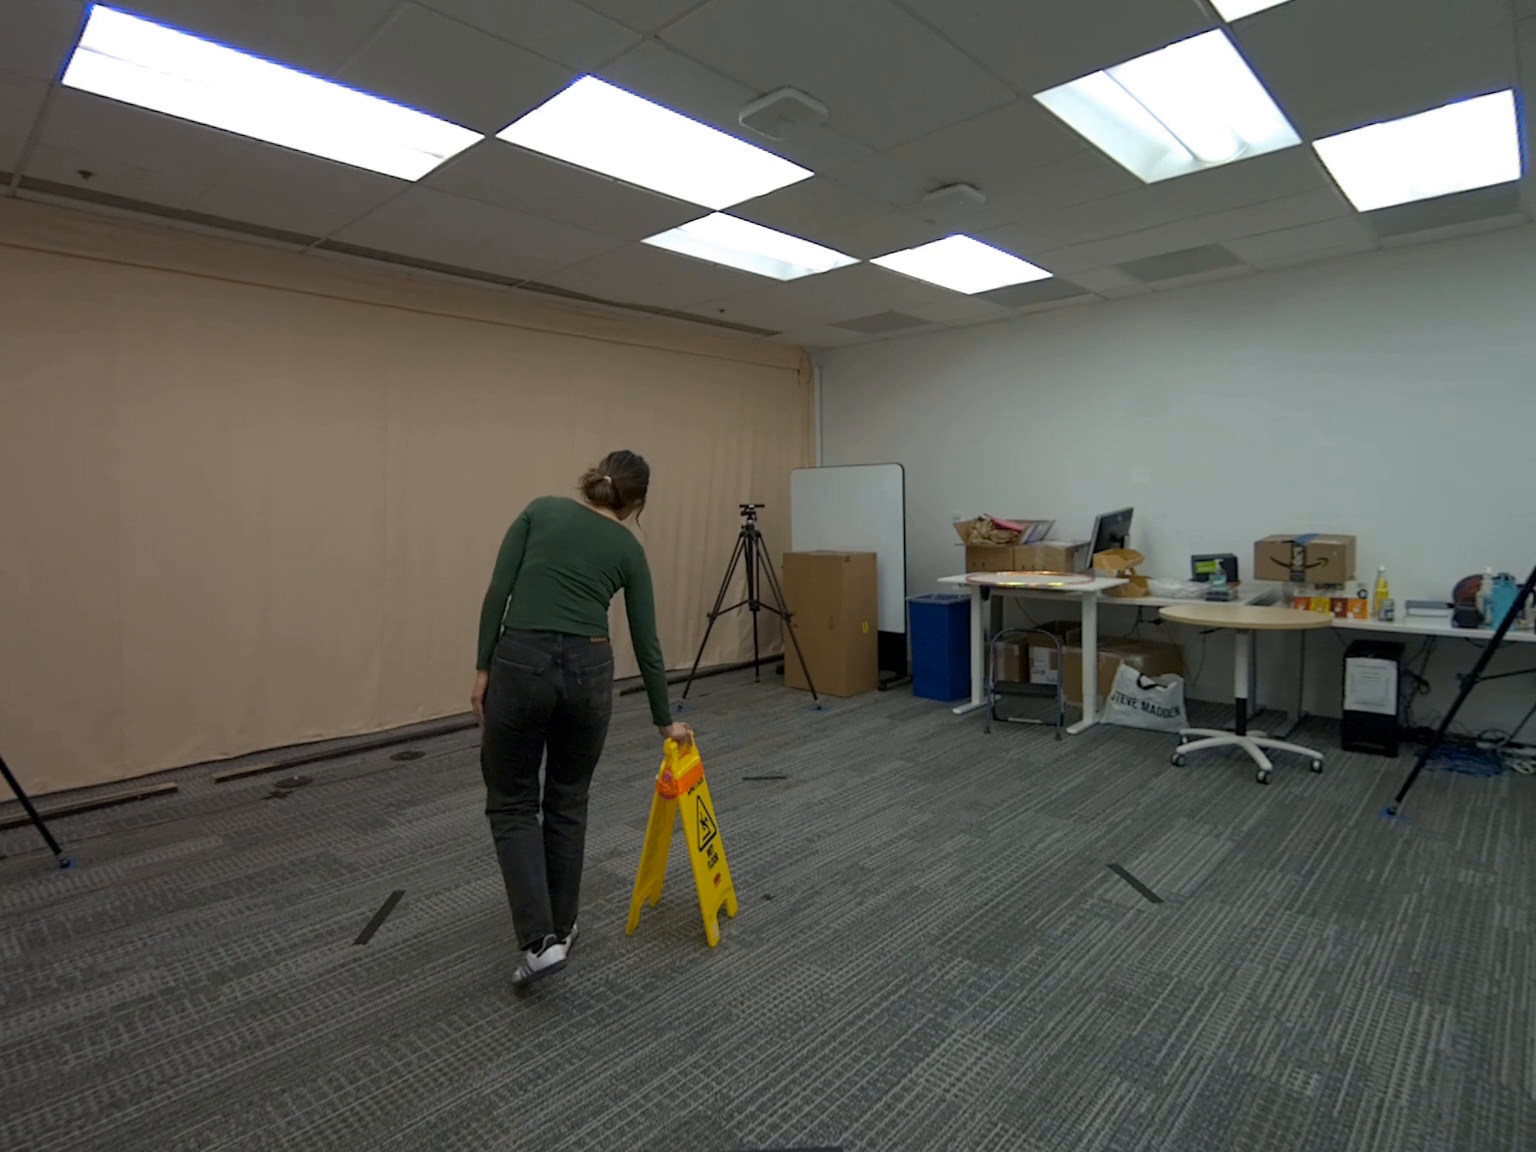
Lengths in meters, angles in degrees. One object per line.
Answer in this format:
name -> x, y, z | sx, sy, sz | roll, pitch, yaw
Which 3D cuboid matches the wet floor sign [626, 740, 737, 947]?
wet floor sign -> -0.286, 0.839, 2.803 | 0.295, 0.644, 0.278 | 1, 5, 17
